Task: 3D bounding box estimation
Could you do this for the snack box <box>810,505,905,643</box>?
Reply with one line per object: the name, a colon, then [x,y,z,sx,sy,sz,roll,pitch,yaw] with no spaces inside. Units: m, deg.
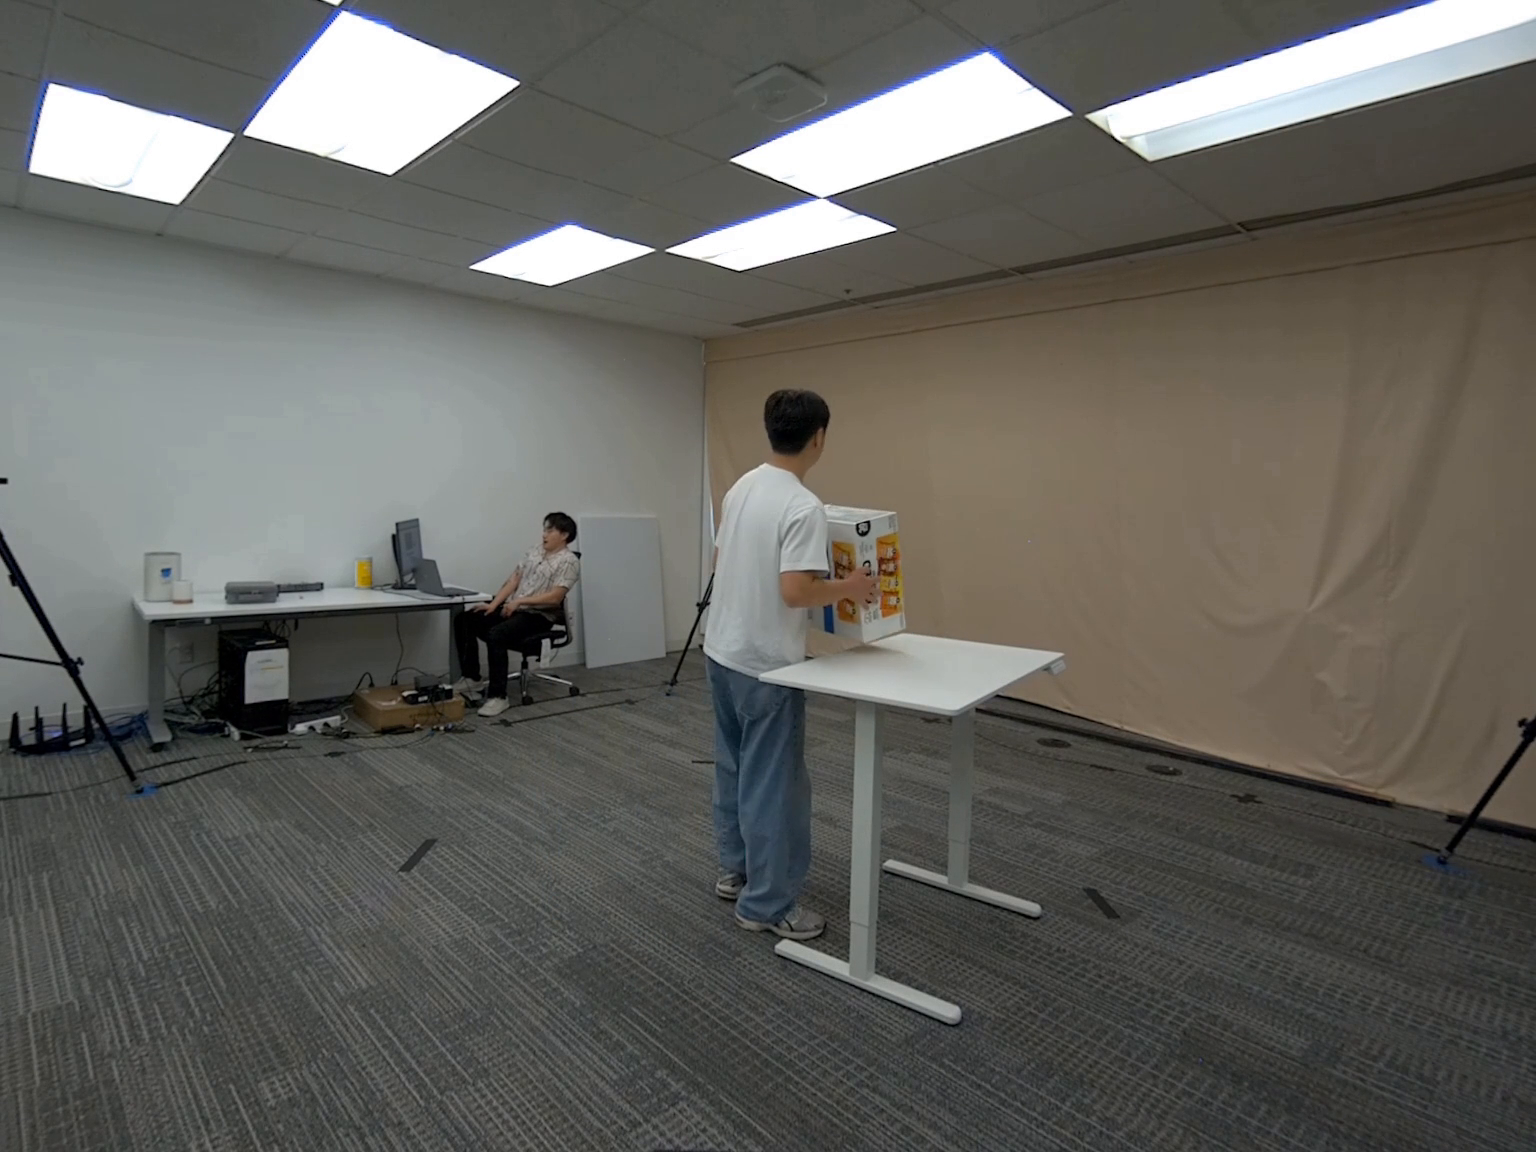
snack box: [0.257,-0.018,2.916,0.202,0.401,0.349,-15,16,-34]
